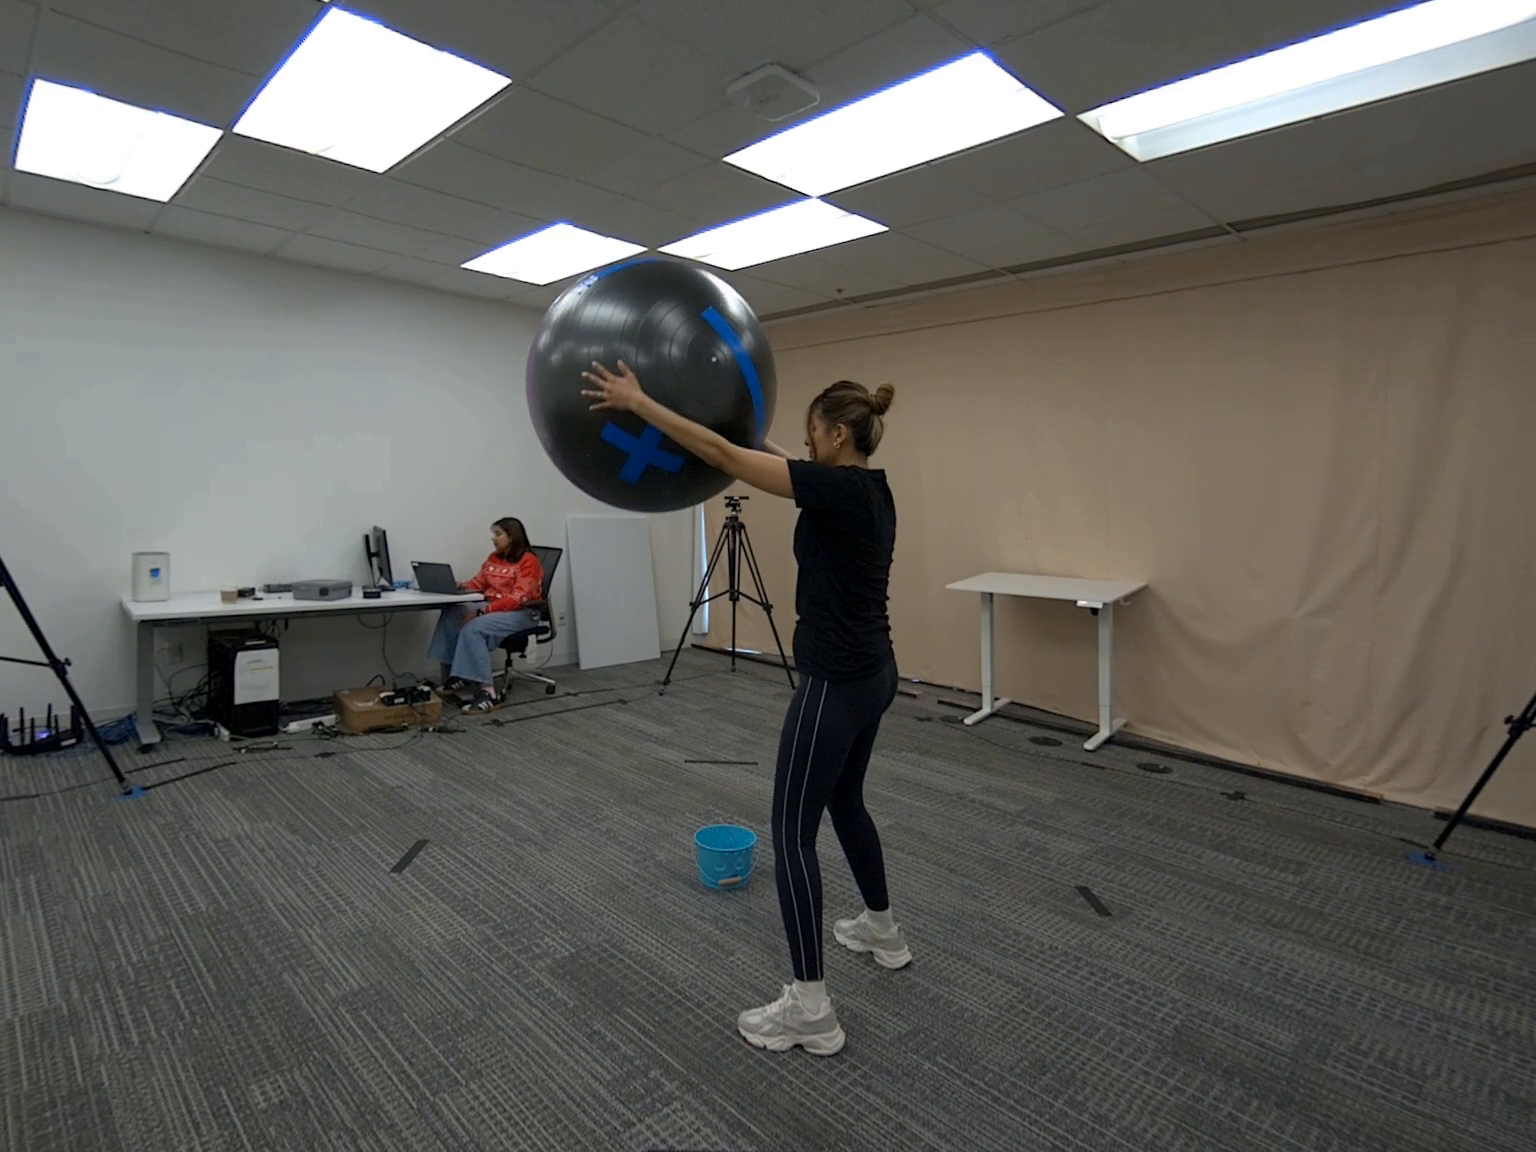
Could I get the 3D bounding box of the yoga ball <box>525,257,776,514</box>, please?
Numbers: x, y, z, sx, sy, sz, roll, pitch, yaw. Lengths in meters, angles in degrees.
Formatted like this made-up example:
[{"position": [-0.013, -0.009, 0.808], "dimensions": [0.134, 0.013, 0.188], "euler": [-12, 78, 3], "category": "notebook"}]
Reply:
[{"position": [-0.349, -0.560, 2.562], "dimensions": [0.757, 0.756, 0.761], "euler": [1, 4, -1], "category": "yoga ball"}]
